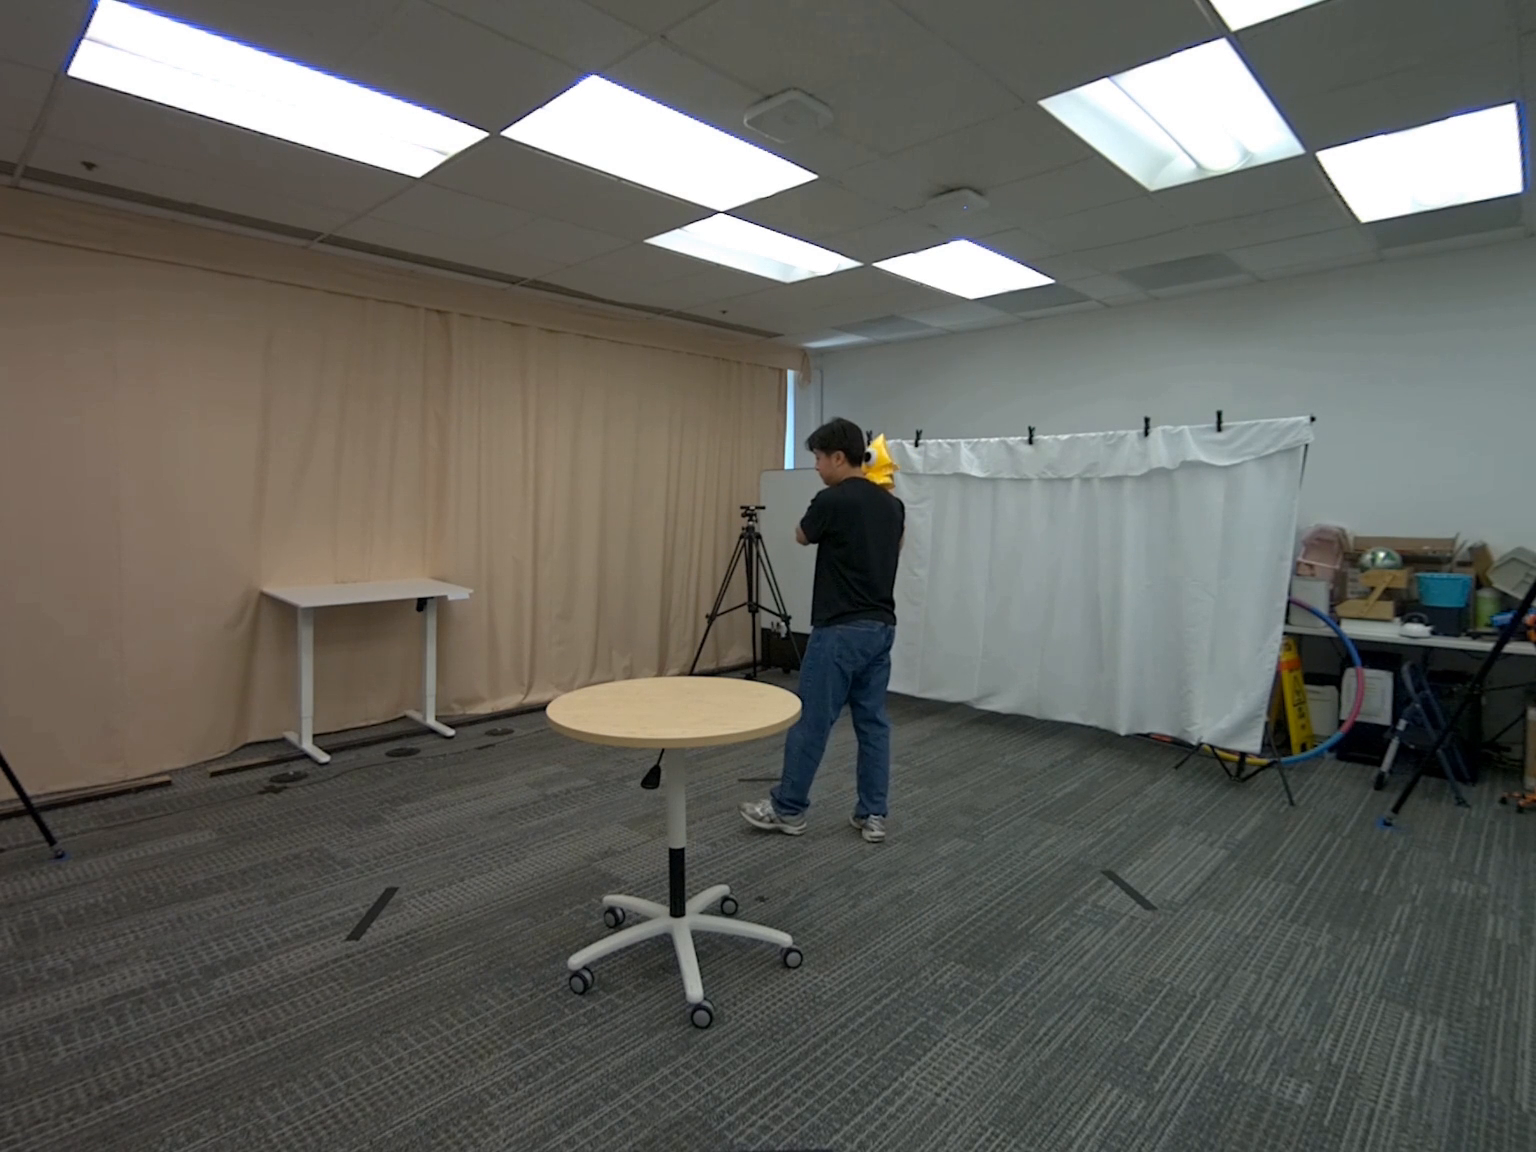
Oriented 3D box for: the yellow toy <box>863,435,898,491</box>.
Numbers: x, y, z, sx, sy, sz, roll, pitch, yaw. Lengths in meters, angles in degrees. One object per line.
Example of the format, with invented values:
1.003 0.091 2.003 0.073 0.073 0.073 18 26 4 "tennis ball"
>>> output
0.464 -0.495 3.672 0.197 0.232 0.200 -11 -7 20 "yellow toy"
